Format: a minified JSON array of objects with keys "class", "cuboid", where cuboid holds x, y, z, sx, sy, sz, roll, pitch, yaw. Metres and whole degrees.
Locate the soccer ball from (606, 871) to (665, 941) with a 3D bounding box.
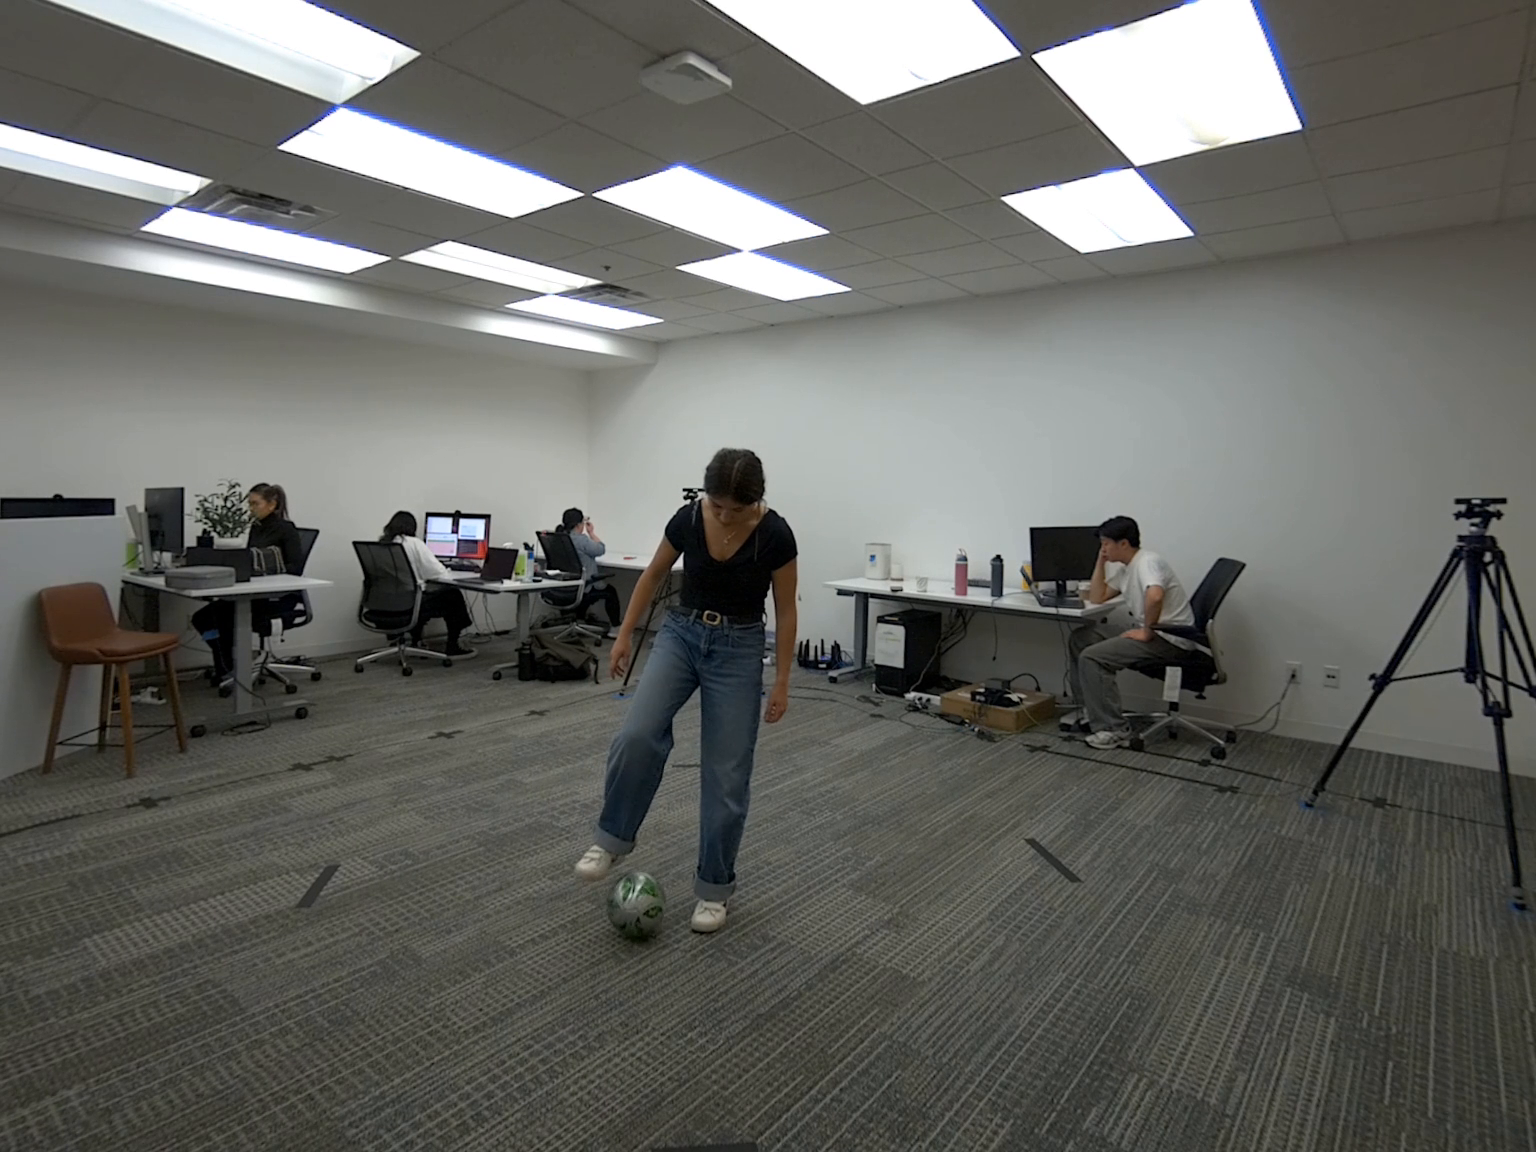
[{"class":"soccer ball","cuboid":[-0.410,1.014,2.651,0.187,0.187,0.188,1,4,-2]}]
